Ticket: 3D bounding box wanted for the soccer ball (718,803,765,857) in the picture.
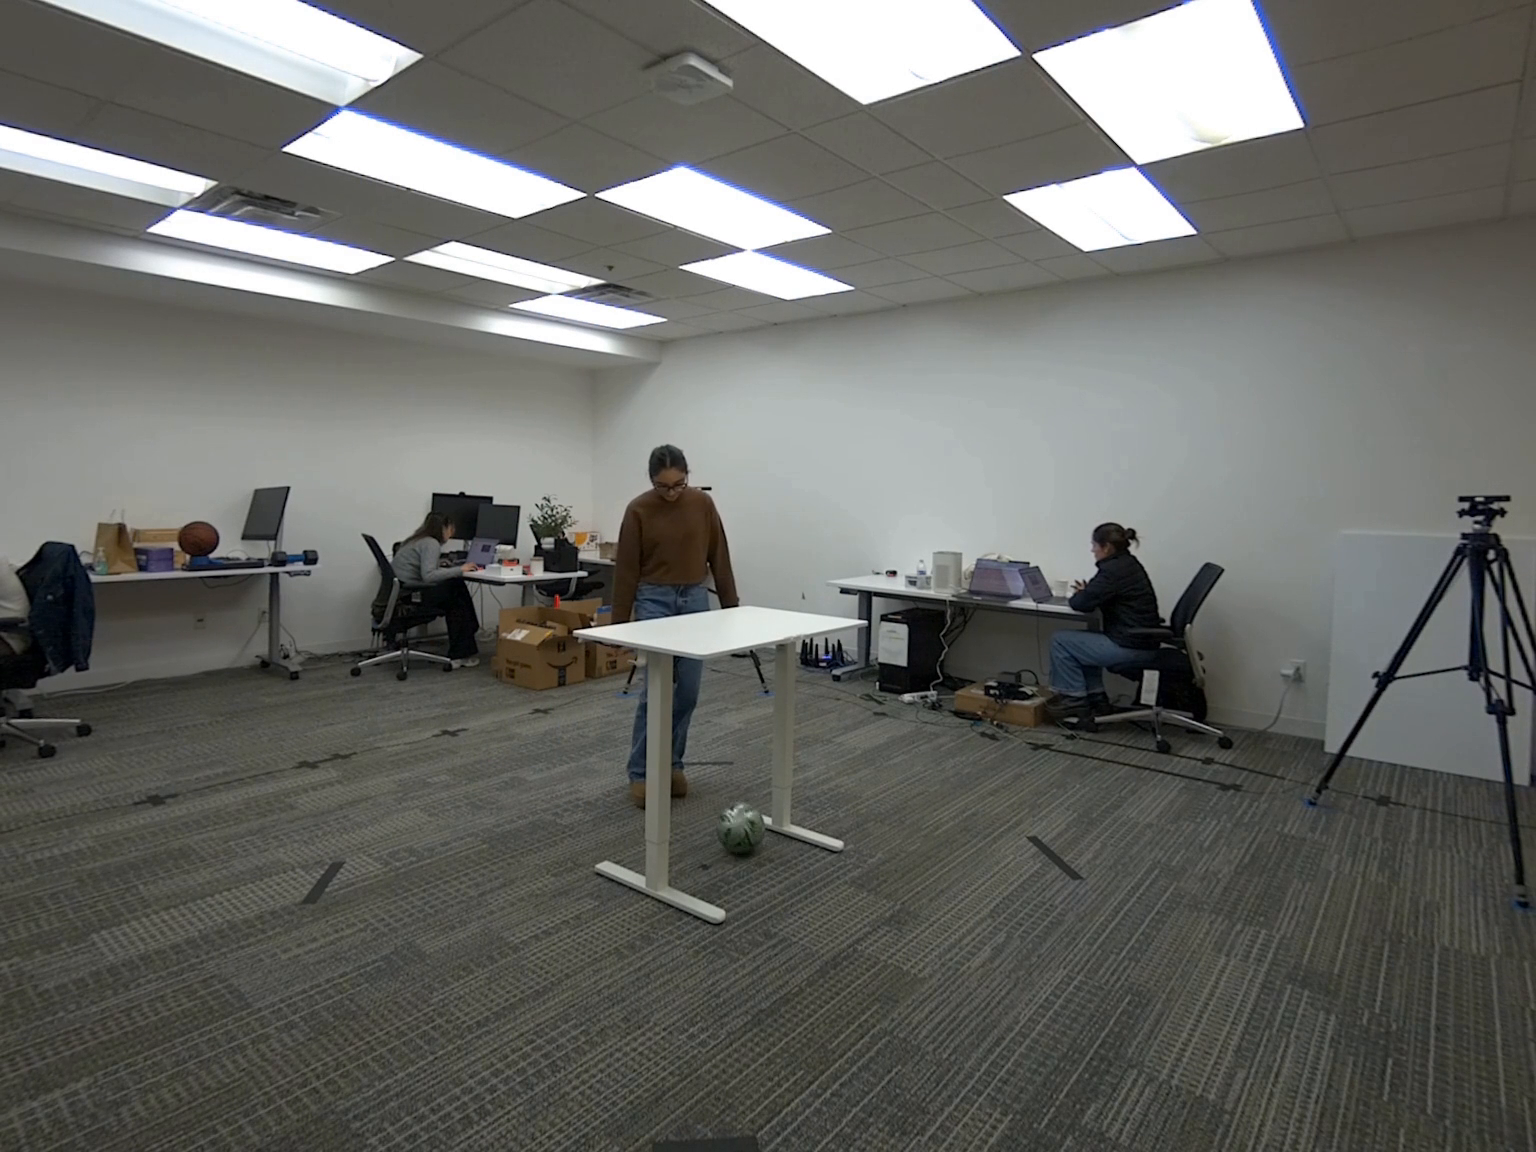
[{"bbox_3d":[-0.115,0.960,3.252,0.187,0.187,0.188,1,4,-2],"label":"soccer ball"}]
